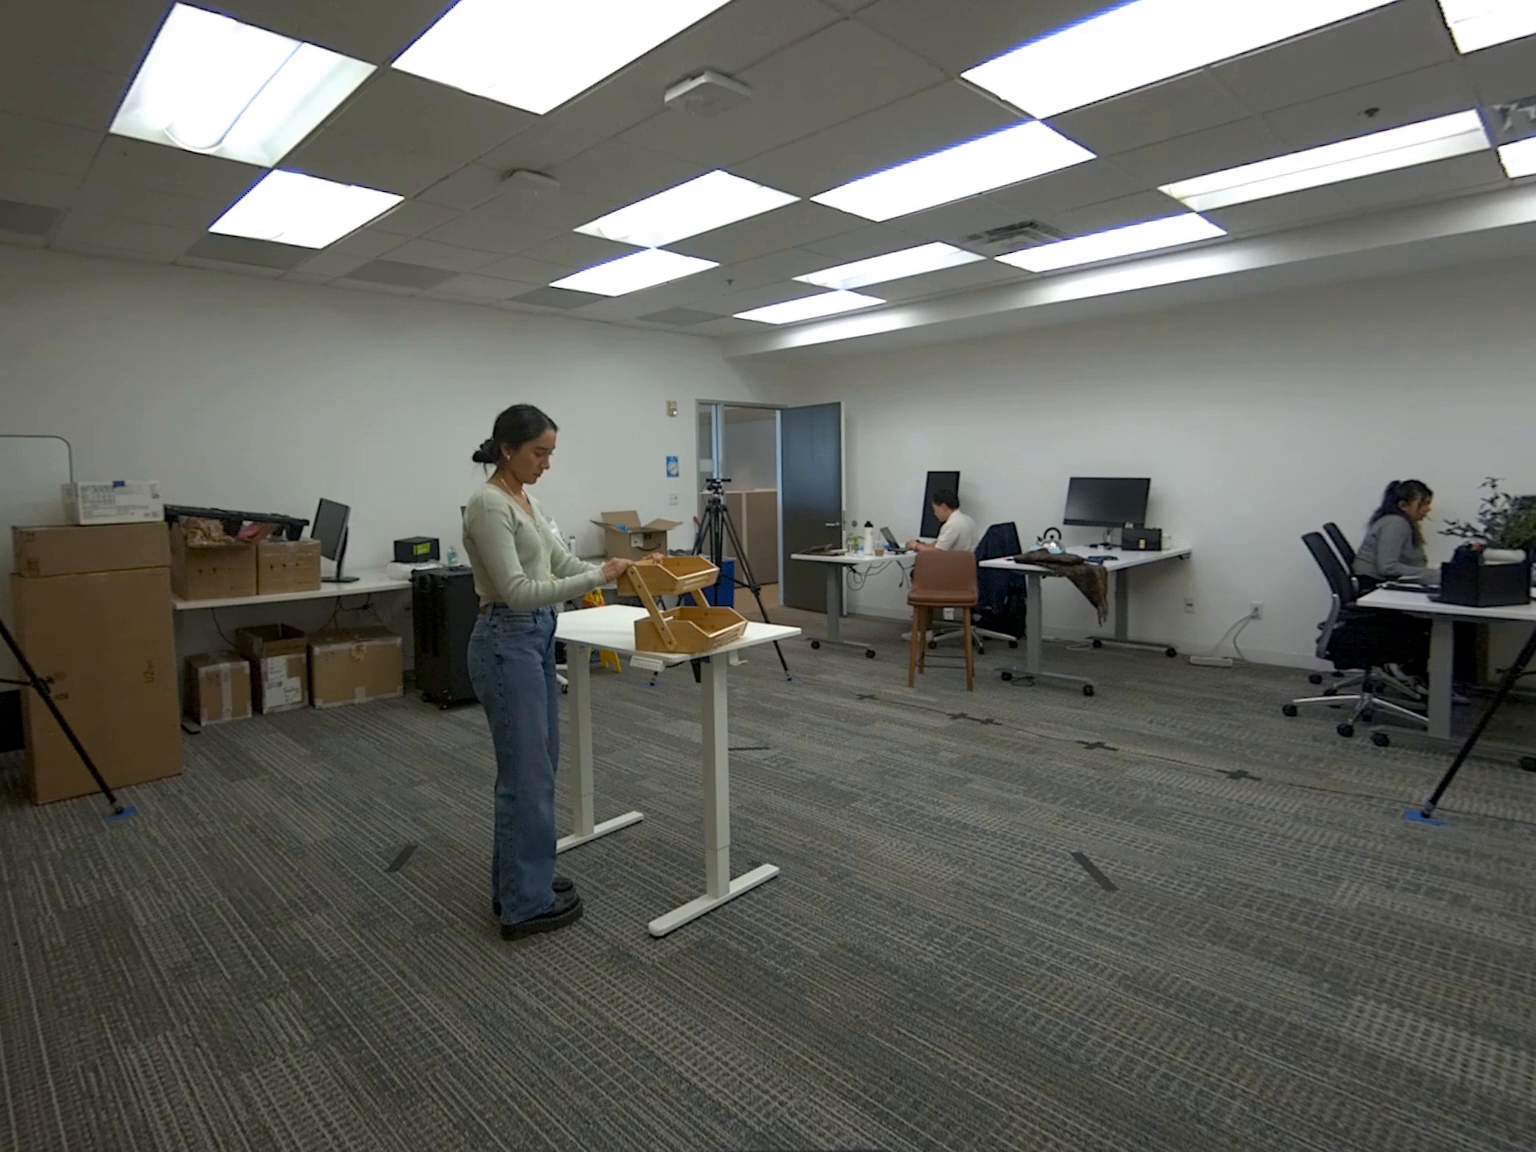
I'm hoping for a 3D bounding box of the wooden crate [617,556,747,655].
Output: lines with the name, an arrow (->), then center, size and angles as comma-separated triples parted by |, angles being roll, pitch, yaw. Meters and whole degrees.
wooden crate -> -0.260, 0.074, 2.675 | 0.308, 0.272, 0.319 | 0, 5, 22
